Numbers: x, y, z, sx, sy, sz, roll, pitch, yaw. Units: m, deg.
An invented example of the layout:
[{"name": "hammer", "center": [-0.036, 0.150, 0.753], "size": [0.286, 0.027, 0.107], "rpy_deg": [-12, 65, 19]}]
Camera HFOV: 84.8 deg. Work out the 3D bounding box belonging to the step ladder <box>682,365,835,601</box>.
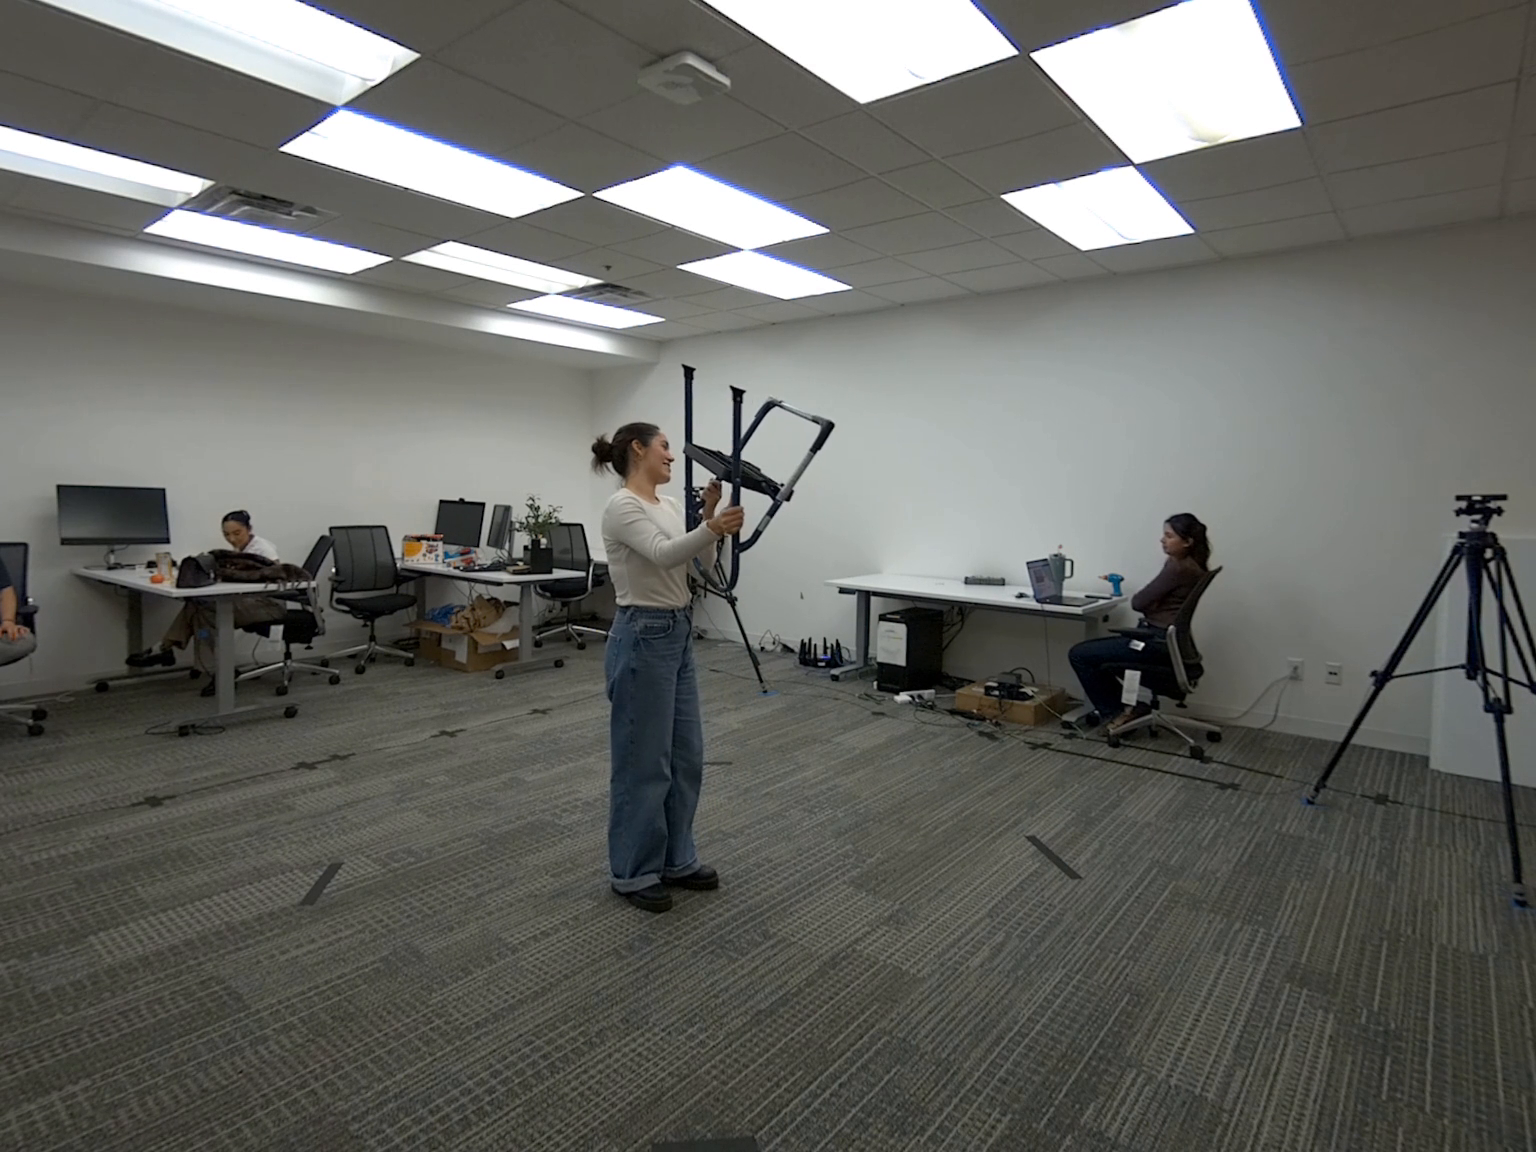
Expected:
[{"name": "step ladder", "center": [-0.148, -0.275, 2.590], "size": [0.338, 0.602, 0.447], "rpy_deg": [15, 13, -29]}]
